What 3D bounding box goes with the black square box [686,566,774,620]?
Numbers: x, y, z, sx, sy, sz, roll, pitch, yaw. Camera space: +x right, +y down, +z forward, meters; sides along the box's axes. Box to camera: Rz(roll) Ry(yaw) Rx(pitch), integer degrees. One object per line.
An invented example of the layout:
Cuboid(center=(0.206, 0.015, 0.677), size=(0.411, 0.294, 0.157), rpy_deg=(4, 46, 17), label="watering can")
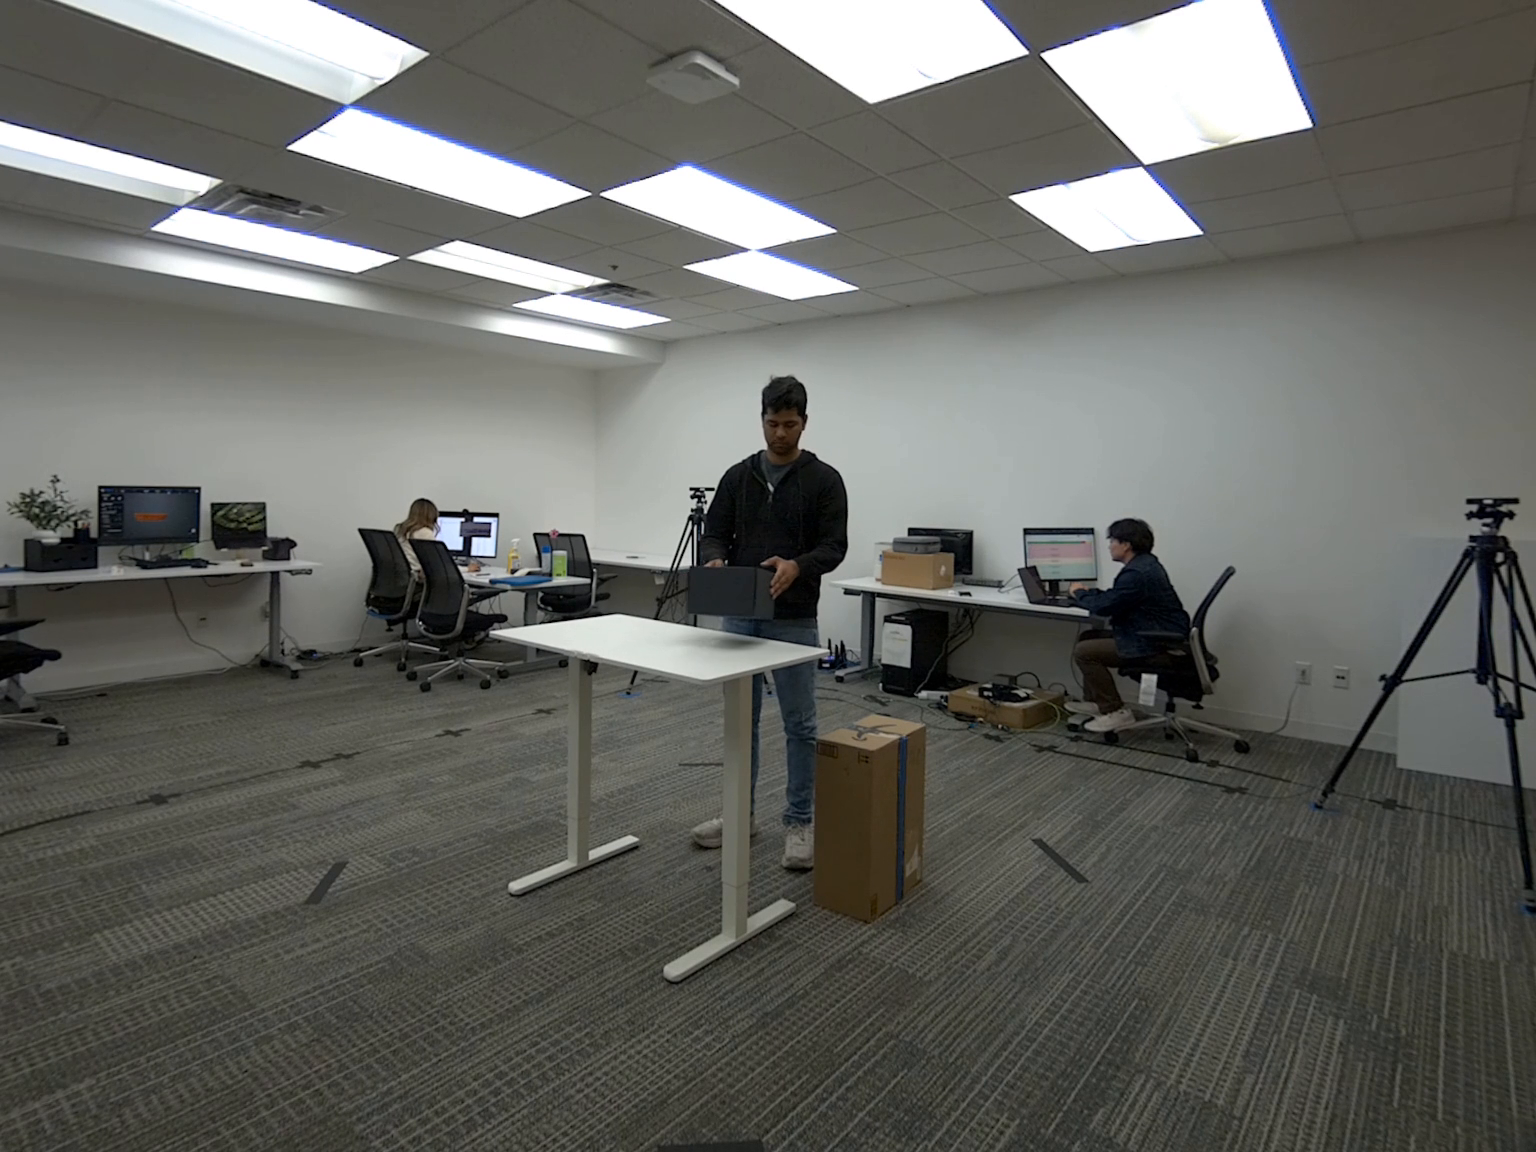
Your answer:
Cuboid(center=(-0.120, 0.060, 2.793), size=(0.232, 0.156, 0.212), rpy_deg=(2, -3, 16), label="black square box")
